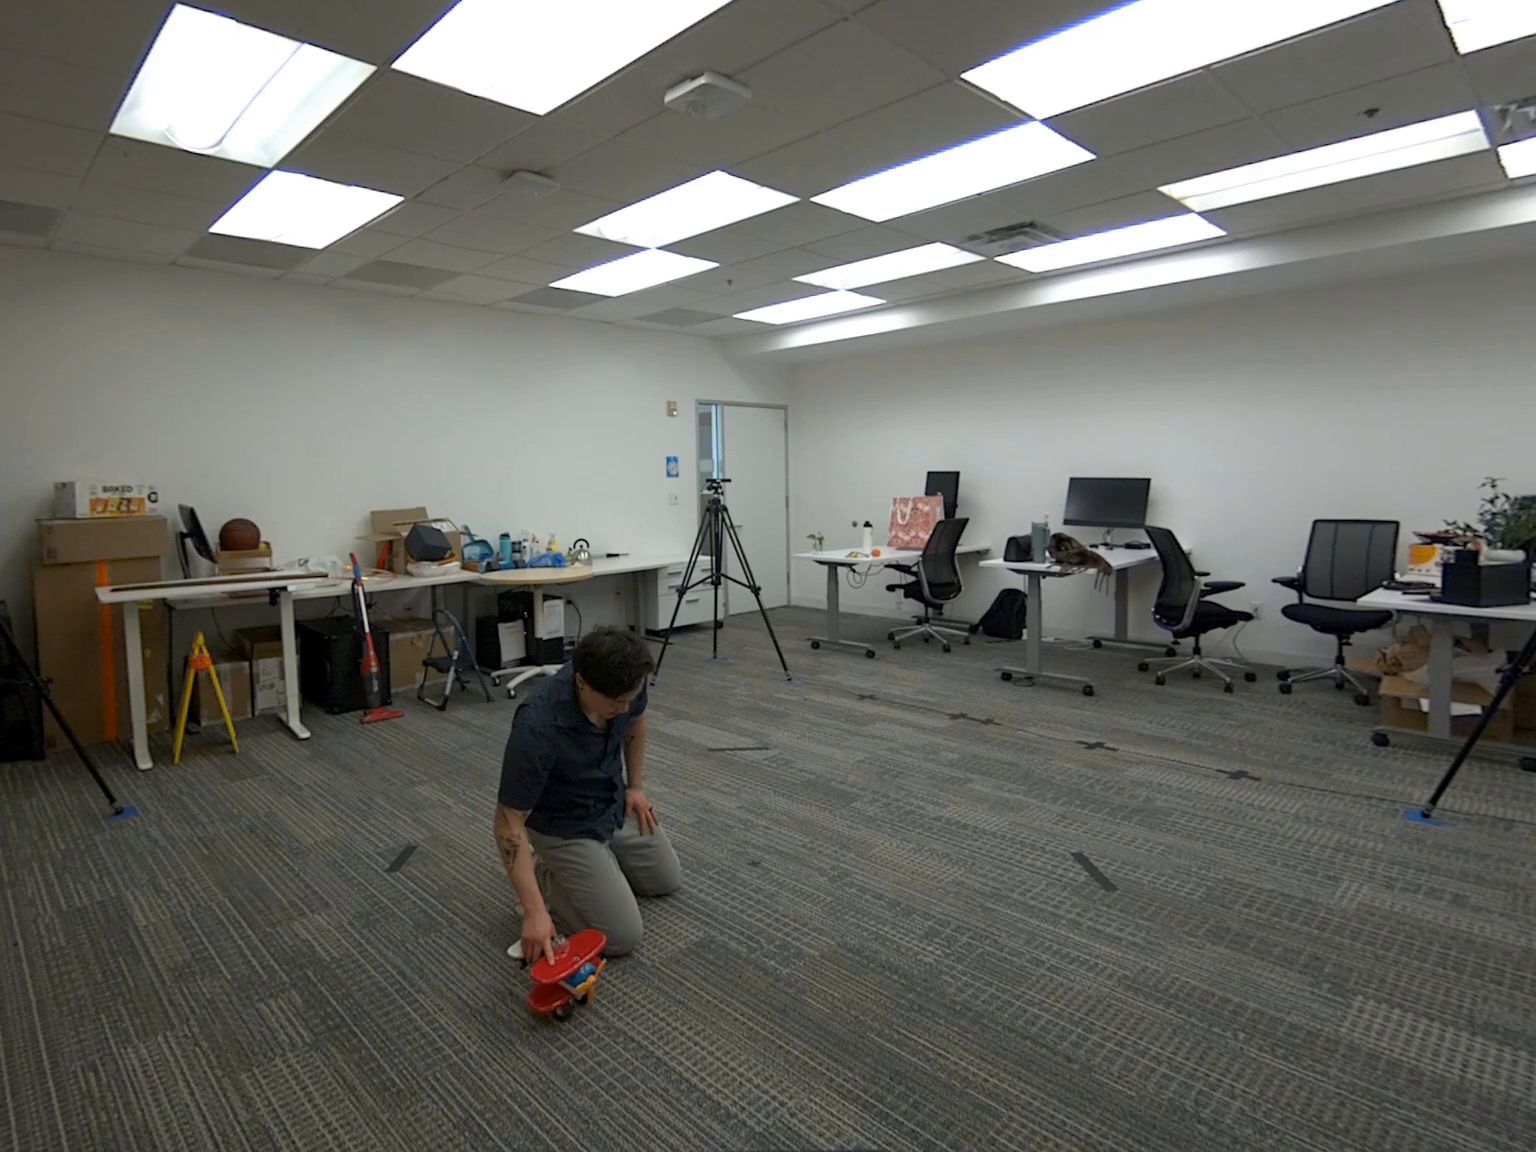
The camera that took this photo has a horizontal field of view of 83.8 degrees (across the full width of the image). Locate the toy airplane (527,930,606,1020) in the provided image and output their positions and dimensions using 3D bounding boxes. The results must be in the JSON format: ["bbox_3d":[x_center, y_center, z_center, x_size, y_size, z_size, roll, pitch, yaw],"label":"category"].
[{"bbox_3d":[-0.570,1.058,2.270,0.258,0.155,0.254,22,17,-3],"label":"toy airplane"}]
